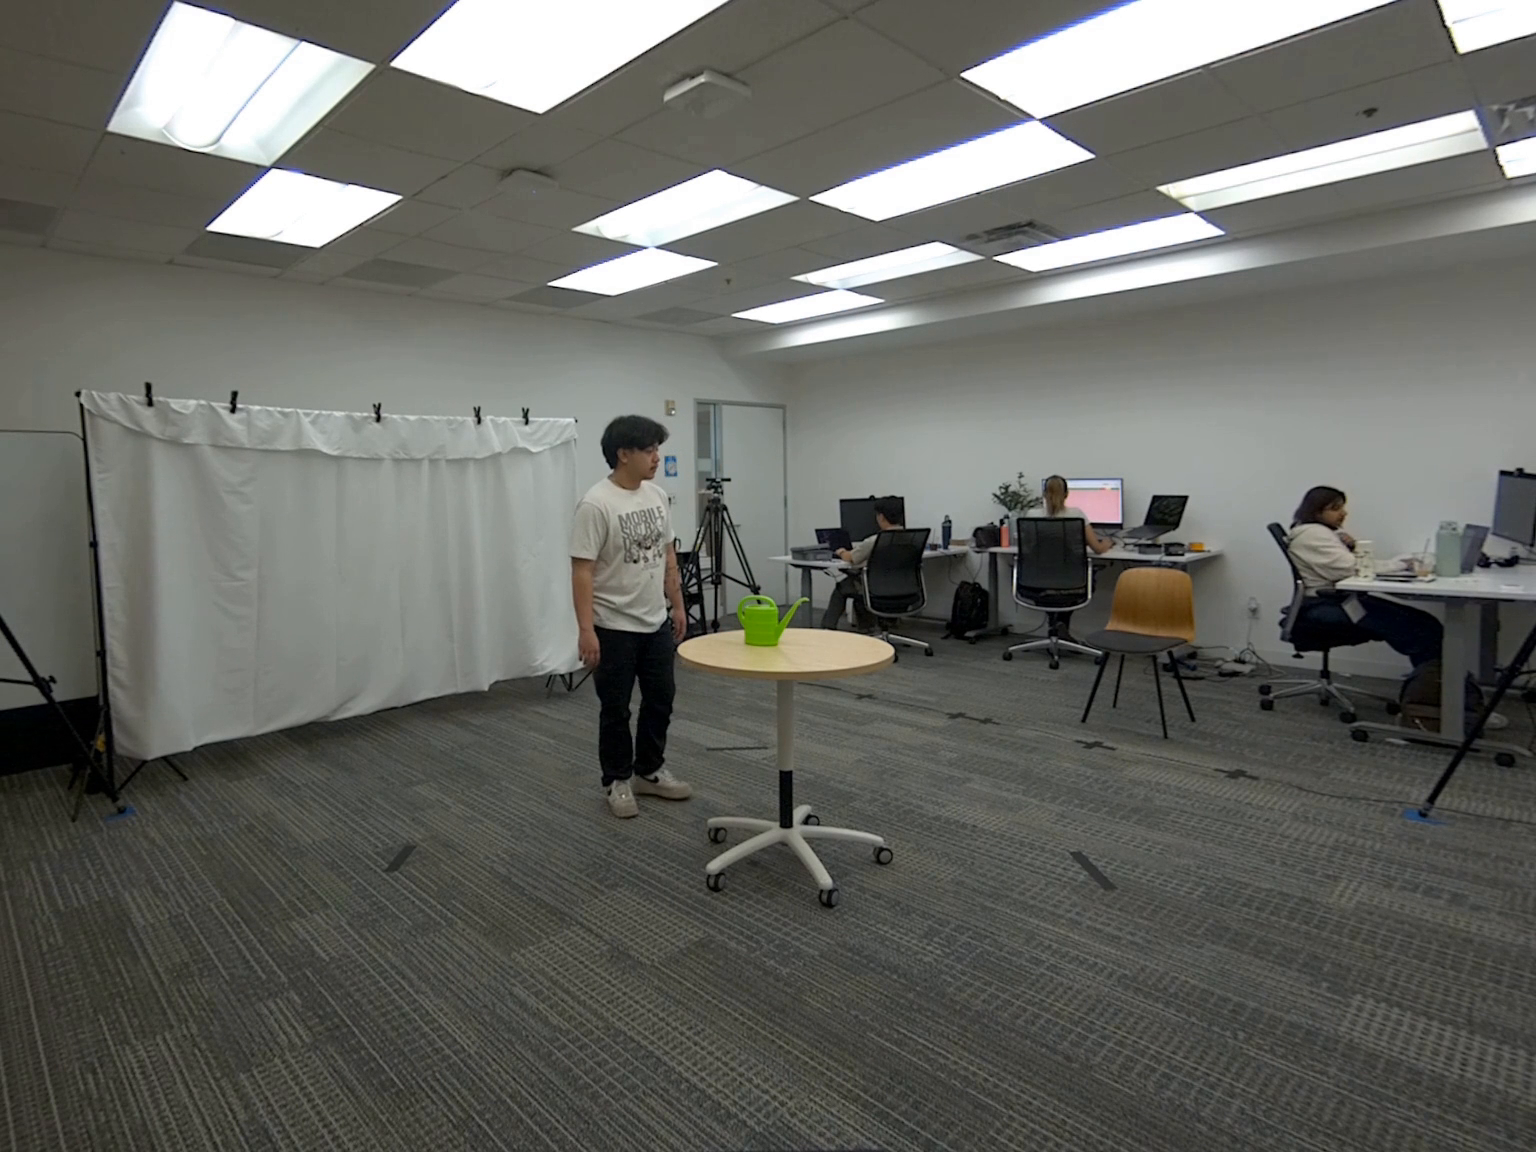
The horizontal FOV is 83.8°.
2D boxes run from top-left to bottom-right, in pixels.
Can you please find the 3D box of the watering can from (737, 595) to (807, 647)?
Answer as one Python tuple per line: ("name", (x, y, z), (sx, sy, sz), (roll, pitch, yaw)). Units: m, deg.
("watering can", (0.016, 0.165, 3.083), (0.287, 0.176, 0.095), (3, 3, 41))
